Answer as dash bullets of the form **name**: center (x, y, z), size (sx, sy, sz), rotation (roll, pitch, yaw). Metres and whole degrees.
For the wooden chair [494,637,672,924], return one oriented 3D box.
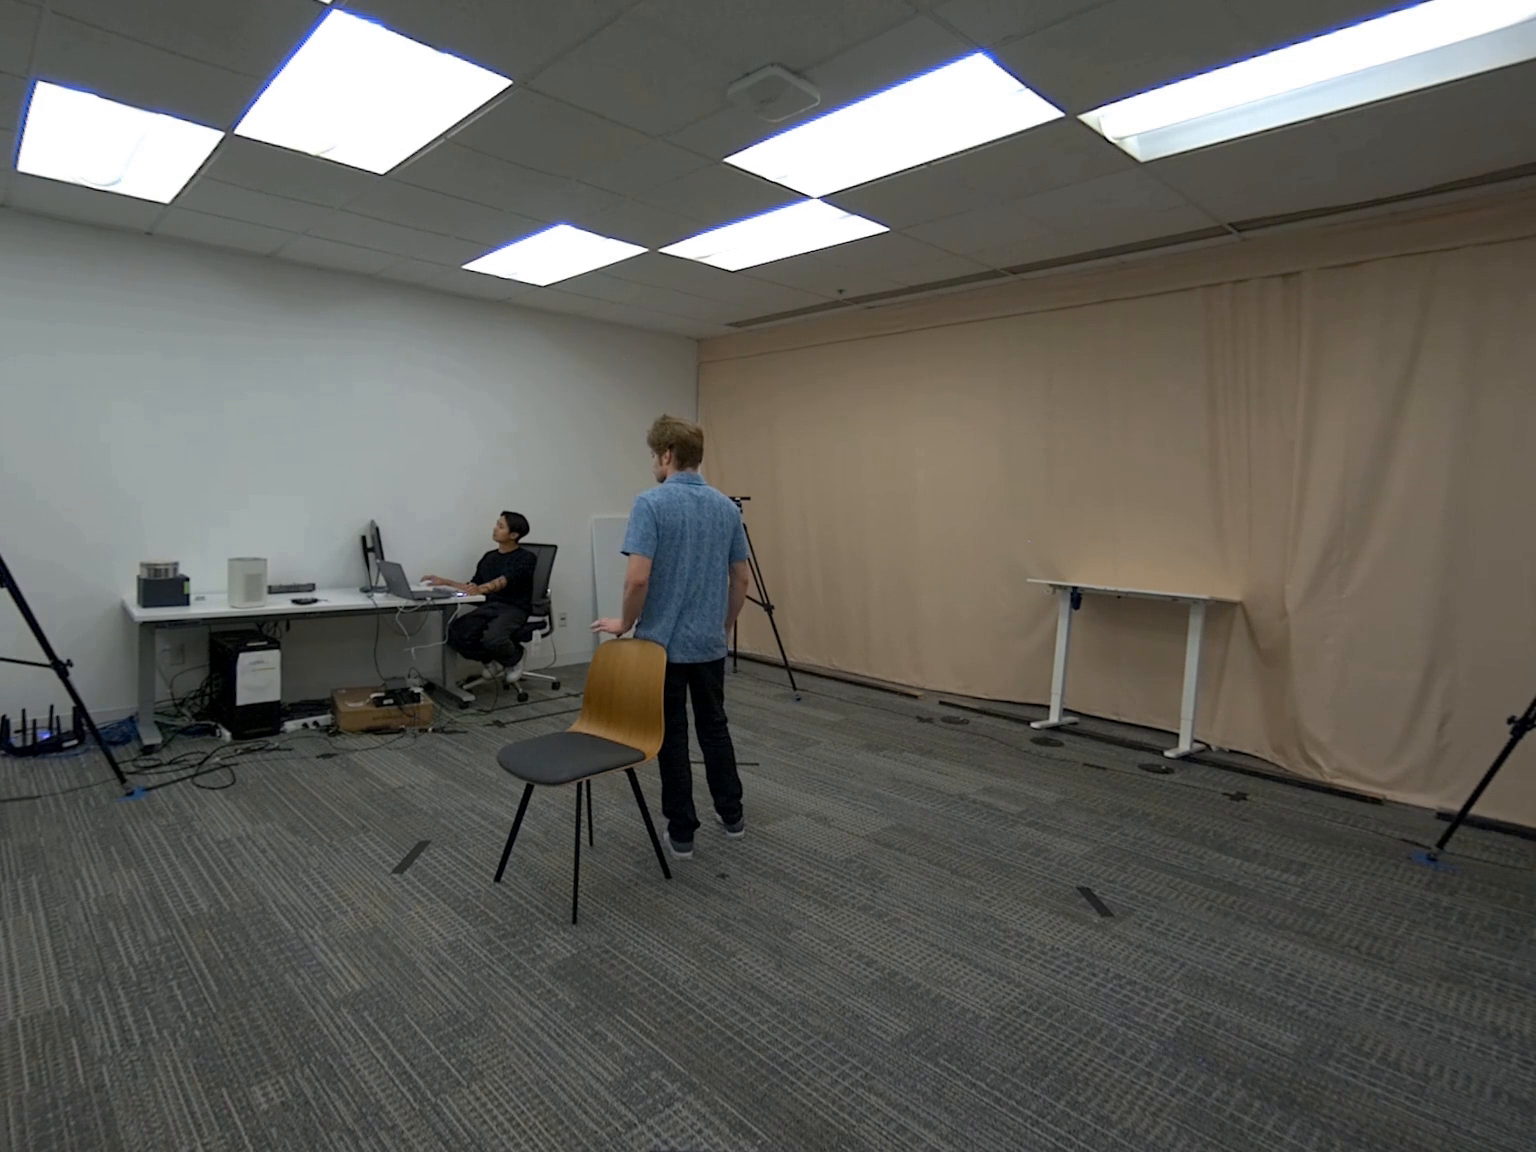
- **wooden chair**: center (-0.663, 0.679, 2.998), size (0.490, 0.877, 0.510), rotation (4, 0, 39)
